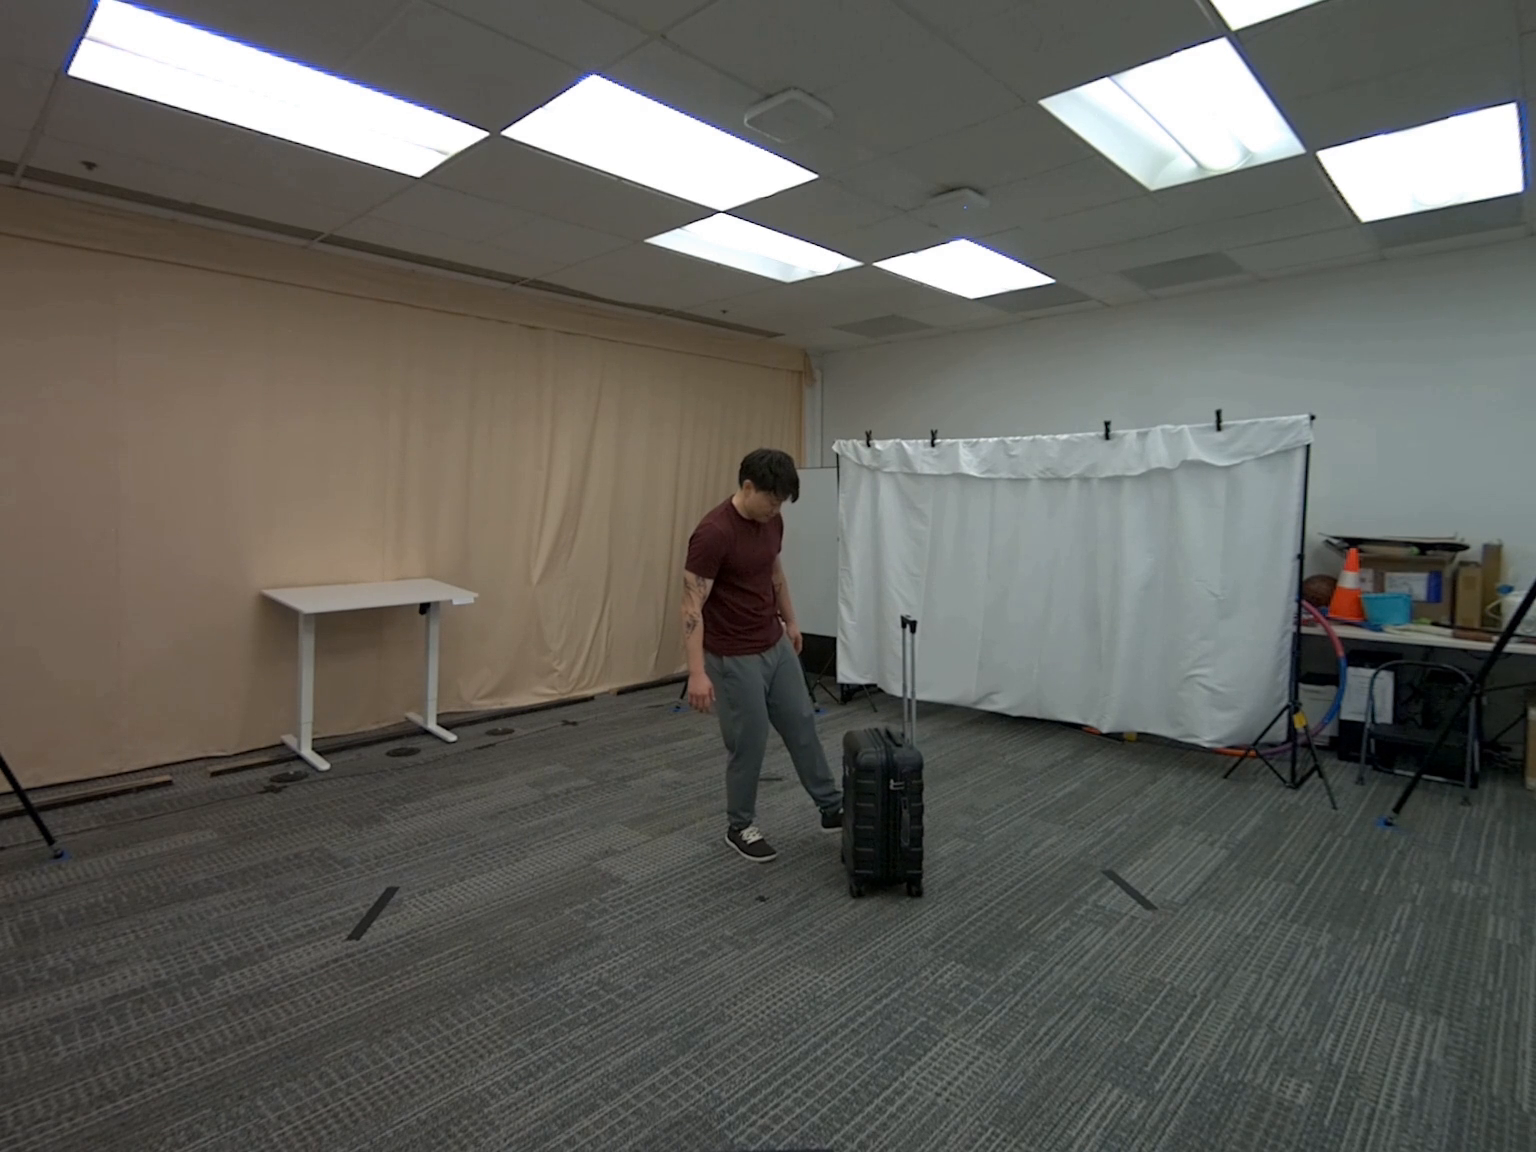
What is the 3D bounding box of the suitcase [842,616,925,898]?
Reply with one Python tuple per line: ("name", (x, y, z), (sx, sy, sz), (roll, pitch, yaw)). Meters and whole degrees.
("suitcase", (0.418, 0.655, 3.095), (0.257, 0.977, 0.384), (-1, 3, -1))
